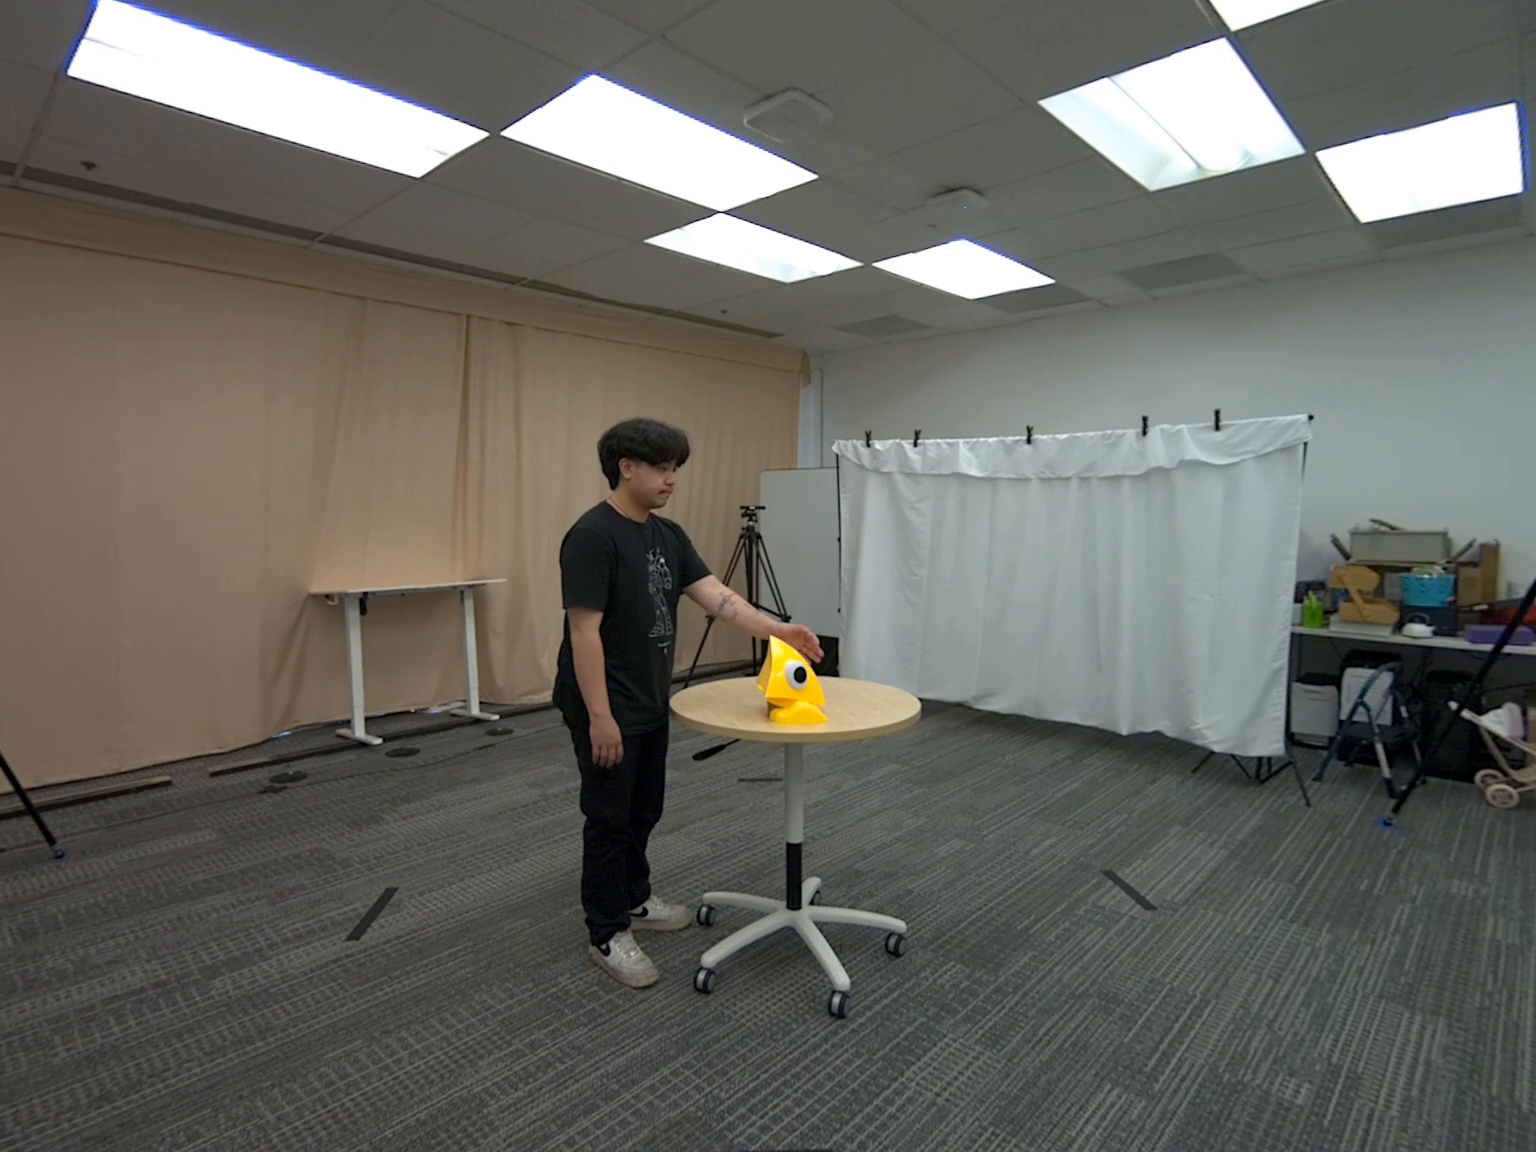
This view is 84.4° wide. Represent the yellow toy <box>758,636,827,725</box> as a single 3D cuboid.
[{"bbox_3d":[0.073,0.285,2.388,0.192,0.230,0.206,1,2,-6],"label":"yellow toy"}]
